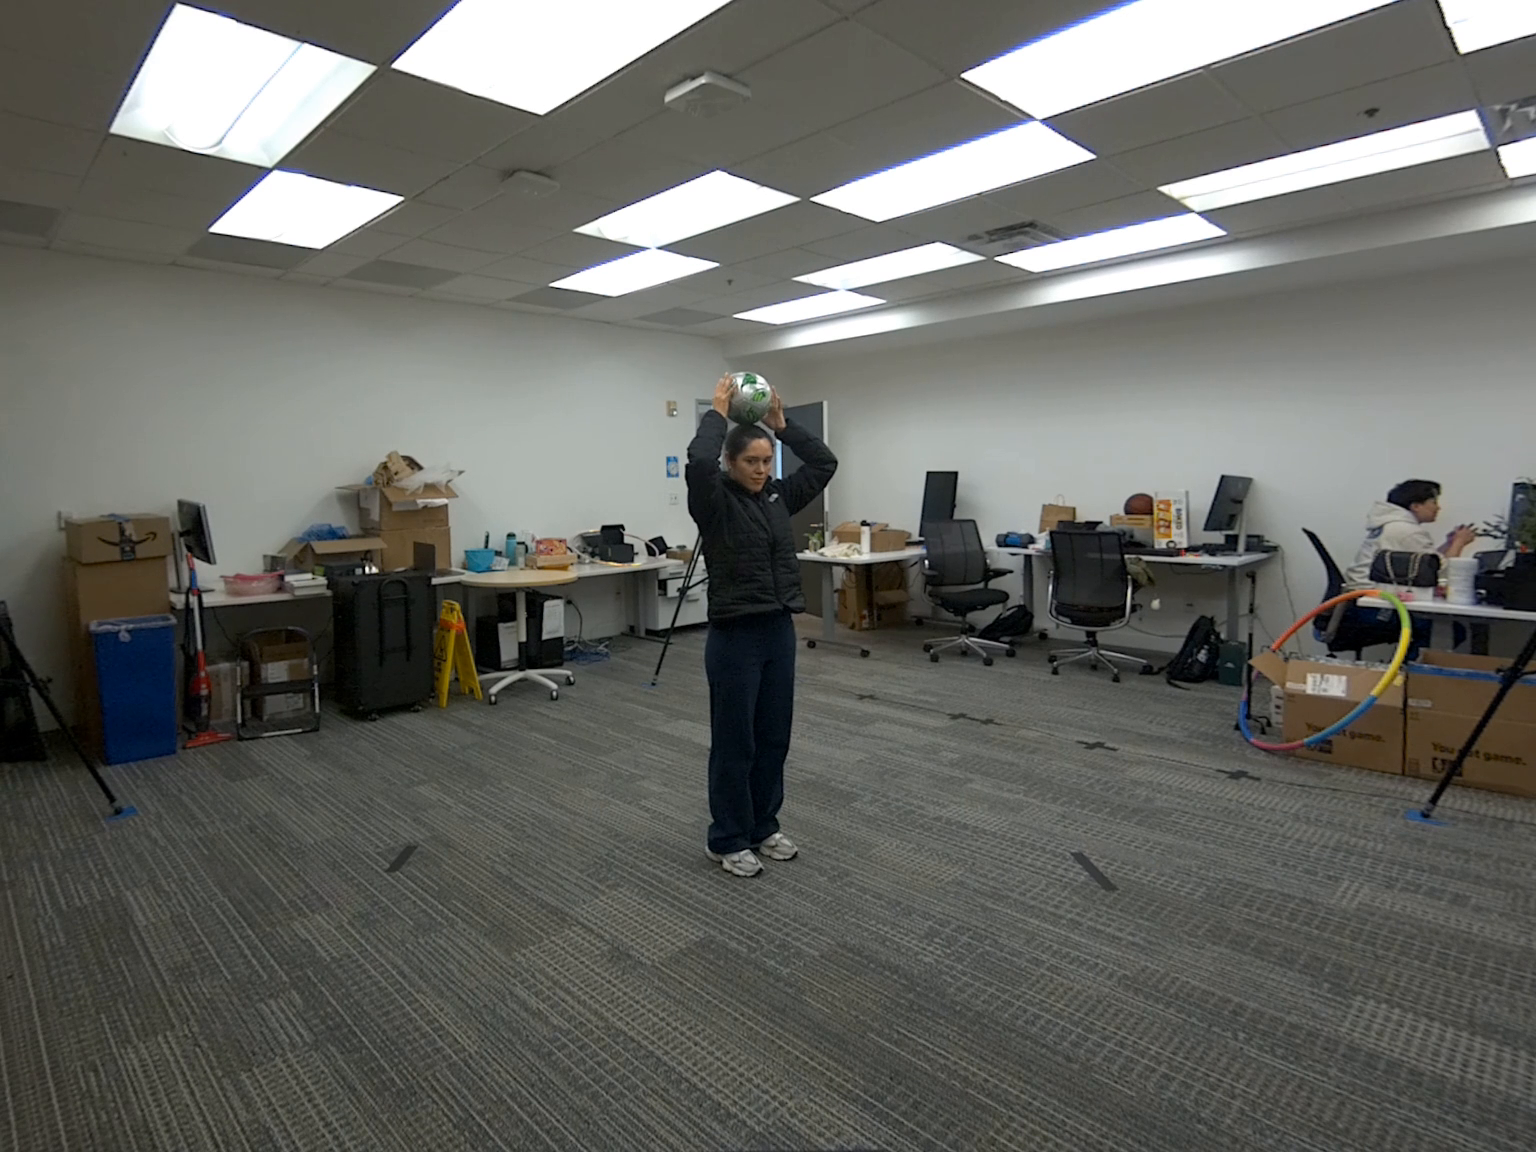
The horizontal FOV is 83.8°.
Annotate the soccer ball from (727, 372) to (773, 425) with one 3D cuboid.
[{"bbox_3d":[-0.081,-0.633,3.059,0.187,0.187,0.188,-1,5,-2],"label":"soccer ball"}]
